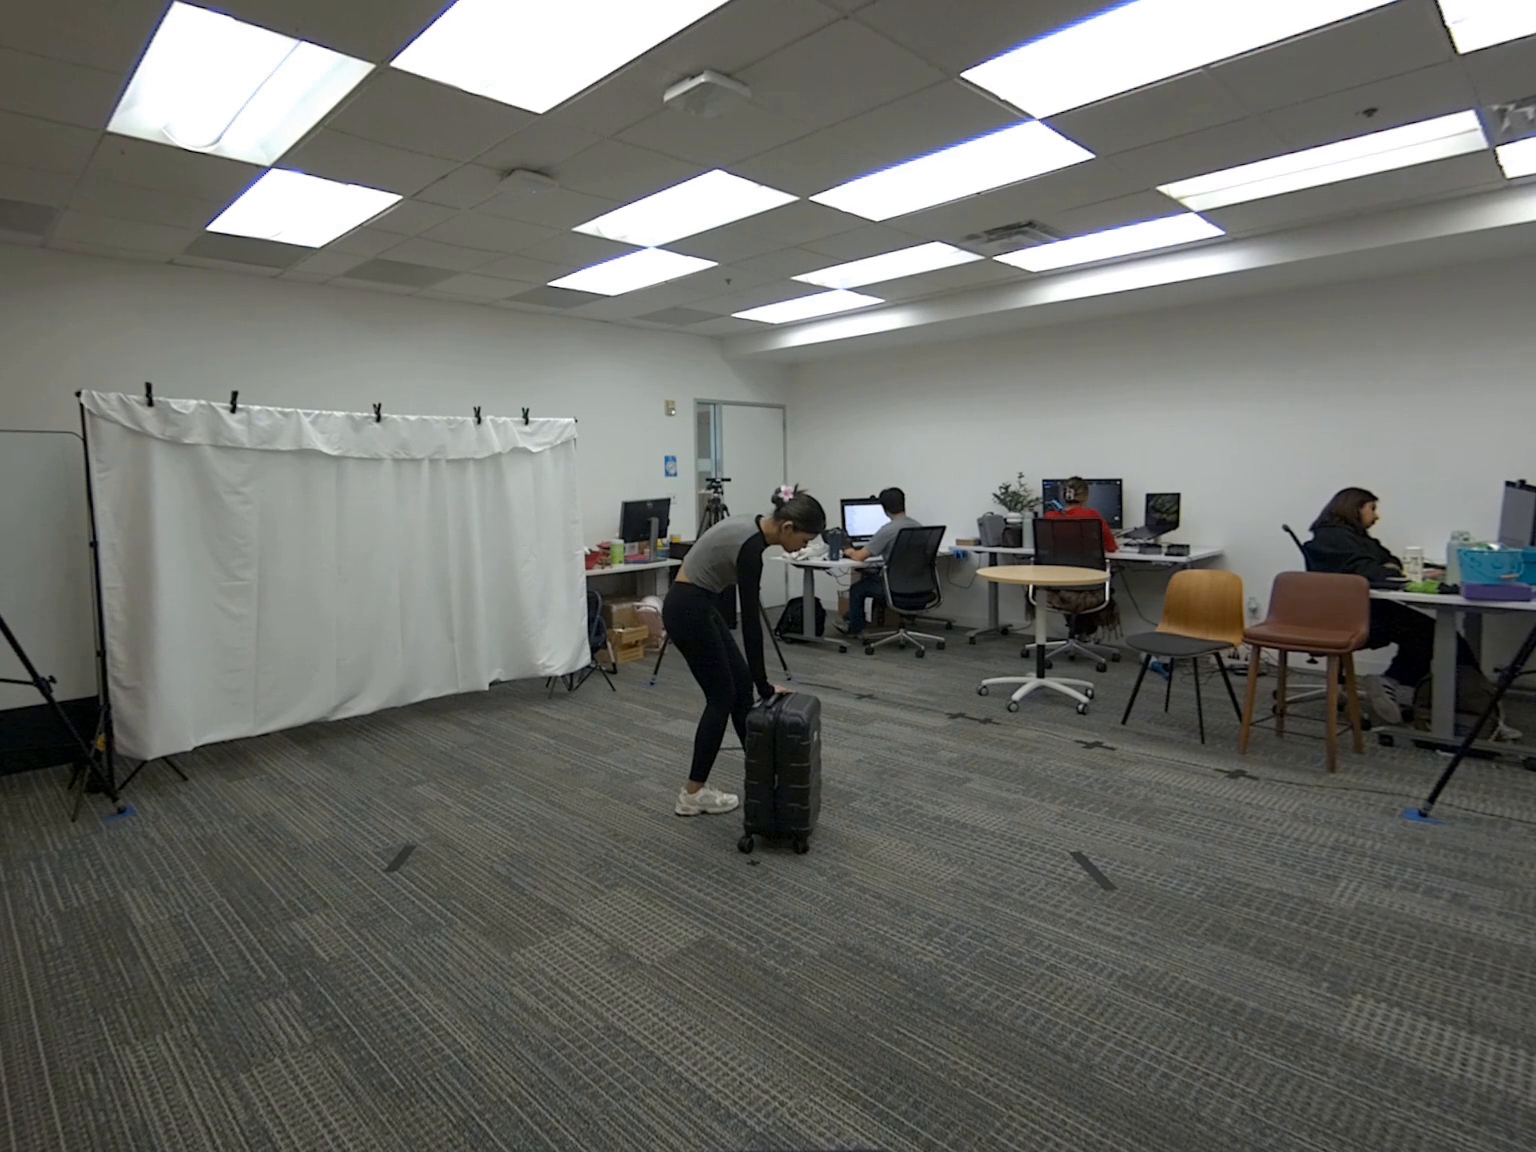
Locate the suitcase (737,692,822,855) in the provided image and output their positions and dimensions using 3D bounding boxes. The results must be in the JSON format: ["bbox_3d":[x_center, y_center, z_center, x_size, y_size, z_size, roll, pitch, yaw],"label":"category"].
[{"bbox_3d":[0.061,0.740,3.319,0.252,0.547,0.372,2,4,12],"label":"suitcase"}]
